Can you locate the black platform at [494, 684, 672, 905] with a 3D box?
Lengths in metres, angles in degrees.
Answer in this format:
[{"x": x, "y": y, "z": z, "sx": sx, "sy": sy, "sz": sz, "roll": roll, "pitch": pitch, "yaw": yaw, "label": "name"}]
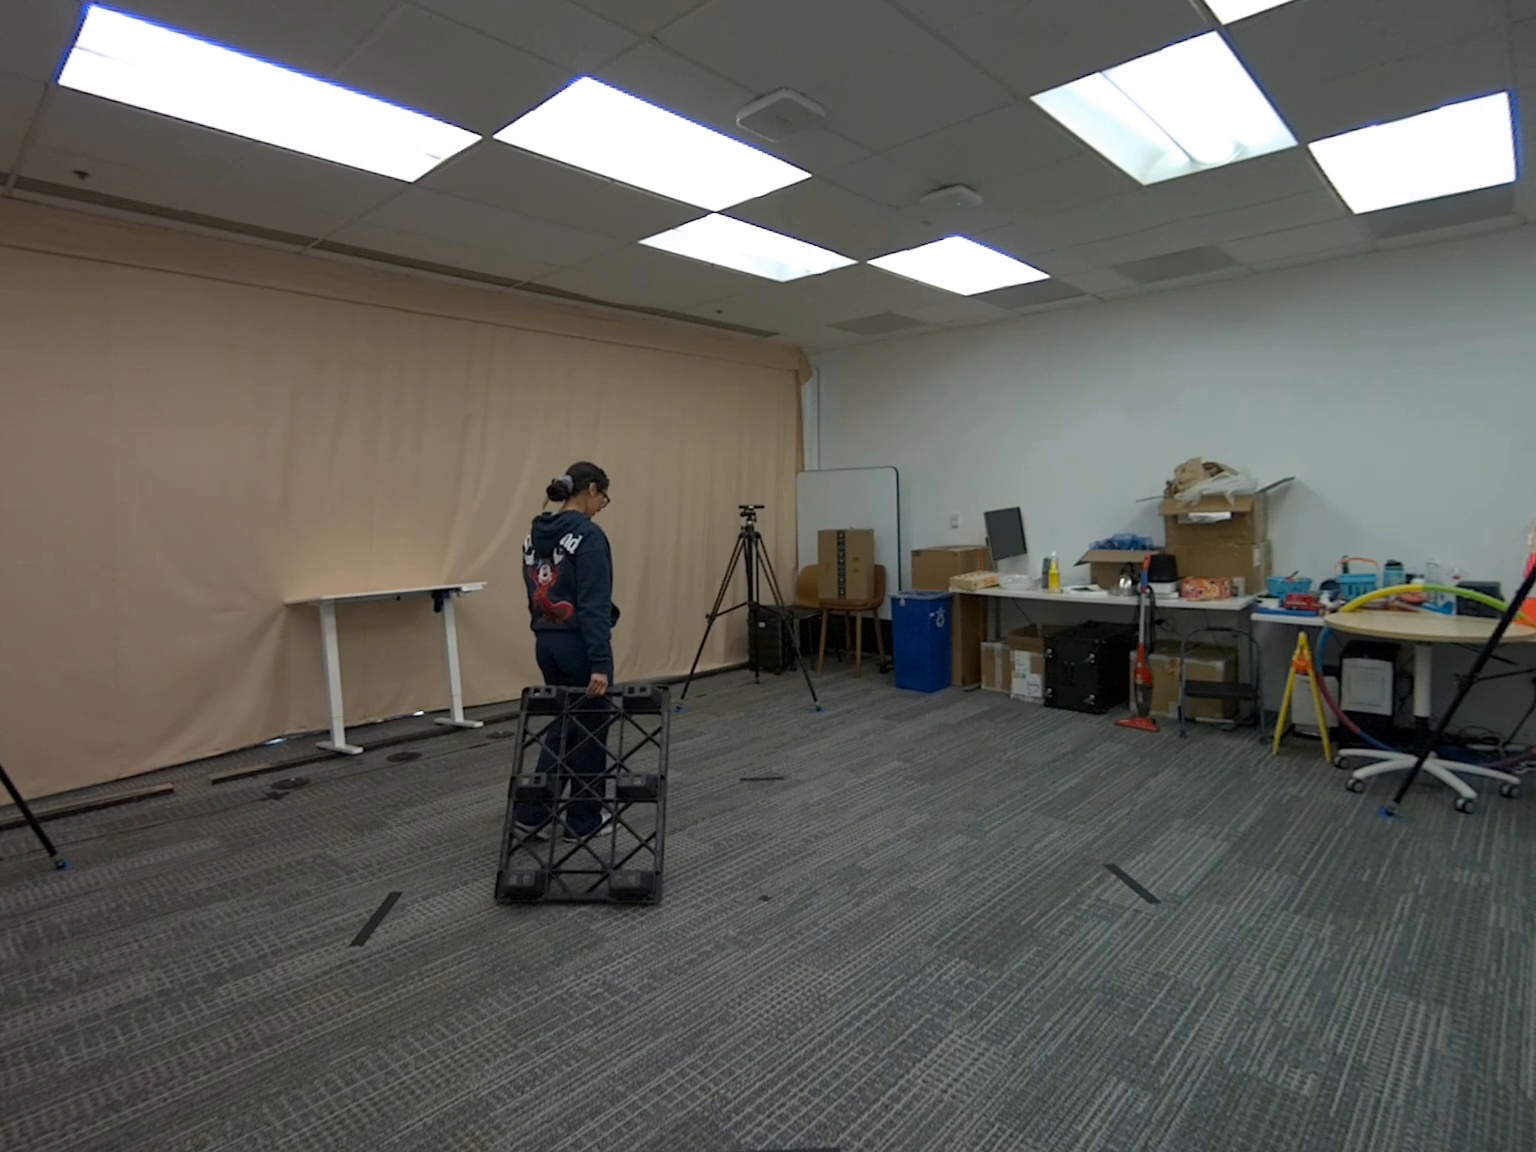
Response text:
[{"x": -0.673, "y": 0.779, "z": 3.119, "sx": 0.608, "sy": 0.818, "sz": 0.140, "roll": -3, "pitch": -29, "yaw": 3, "label": "black platform"}]
